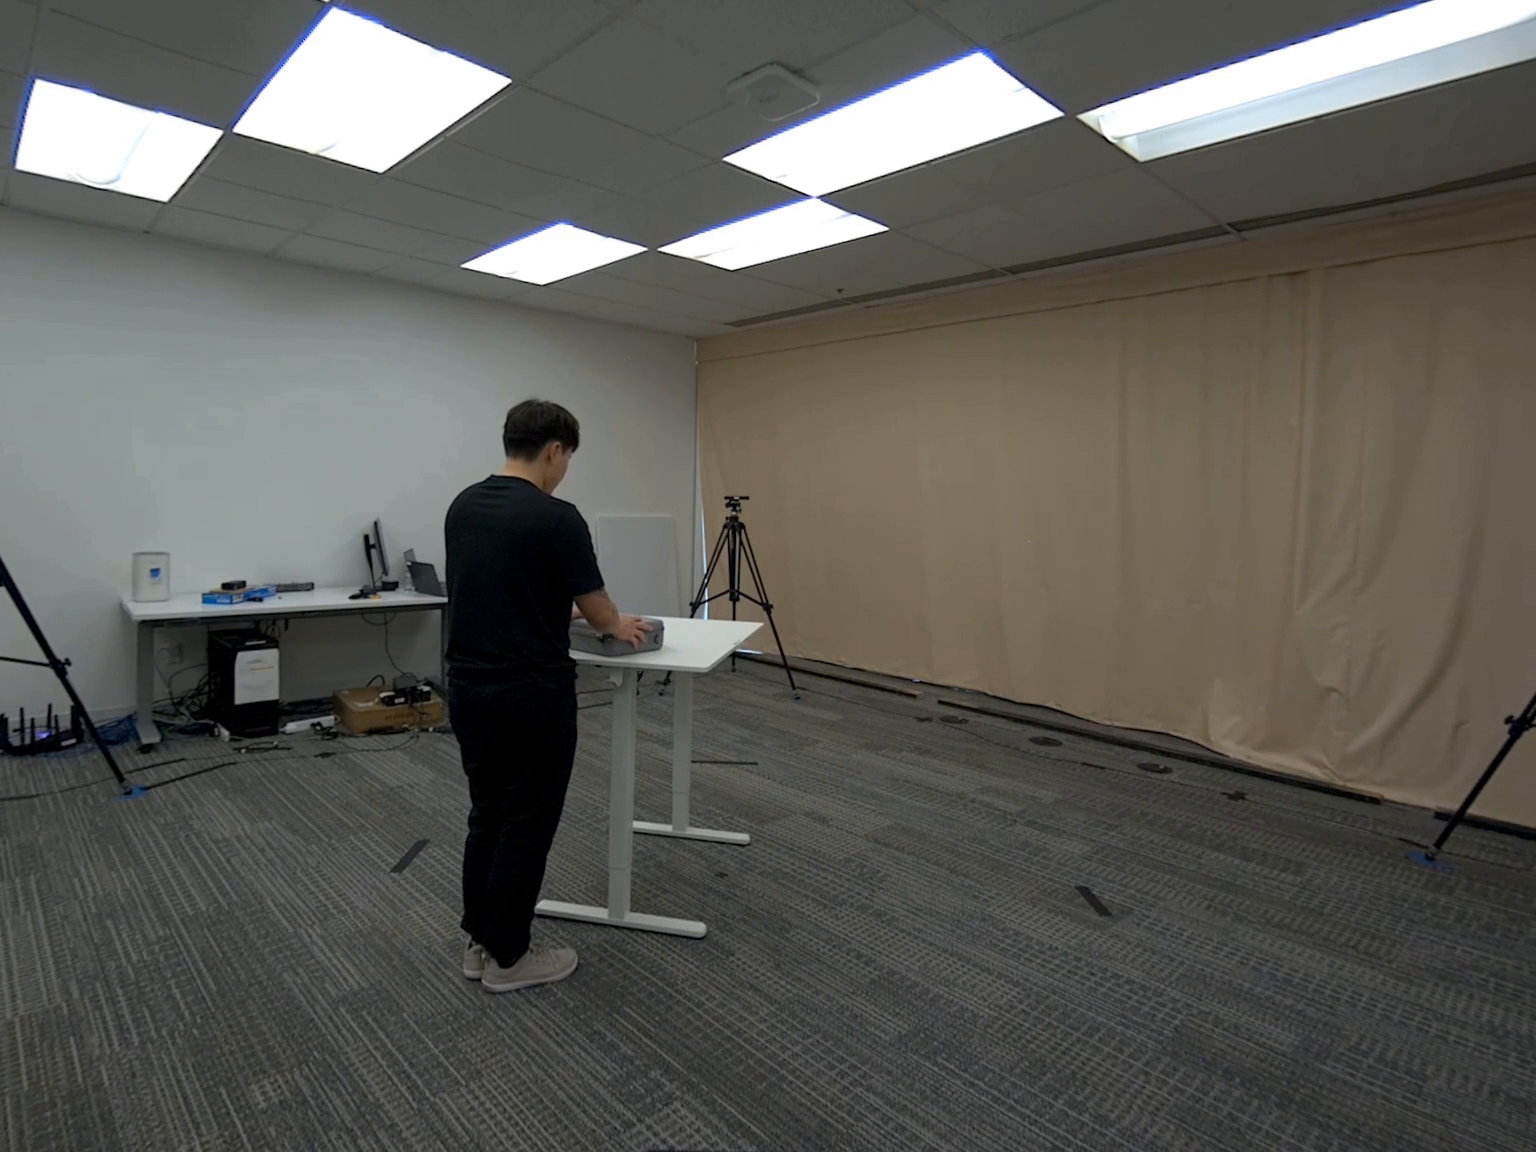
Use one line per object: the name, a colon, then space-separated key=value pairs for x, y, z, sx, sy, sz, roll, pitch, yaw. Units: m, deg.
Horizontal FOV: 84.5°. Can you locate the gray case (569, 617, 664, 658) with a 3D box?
gray case: x=-0.510 y=0.192 z=2.782 sx=0.263 sy=0.104 sz=0.255 roll=3 pitch=4 yaw=37
